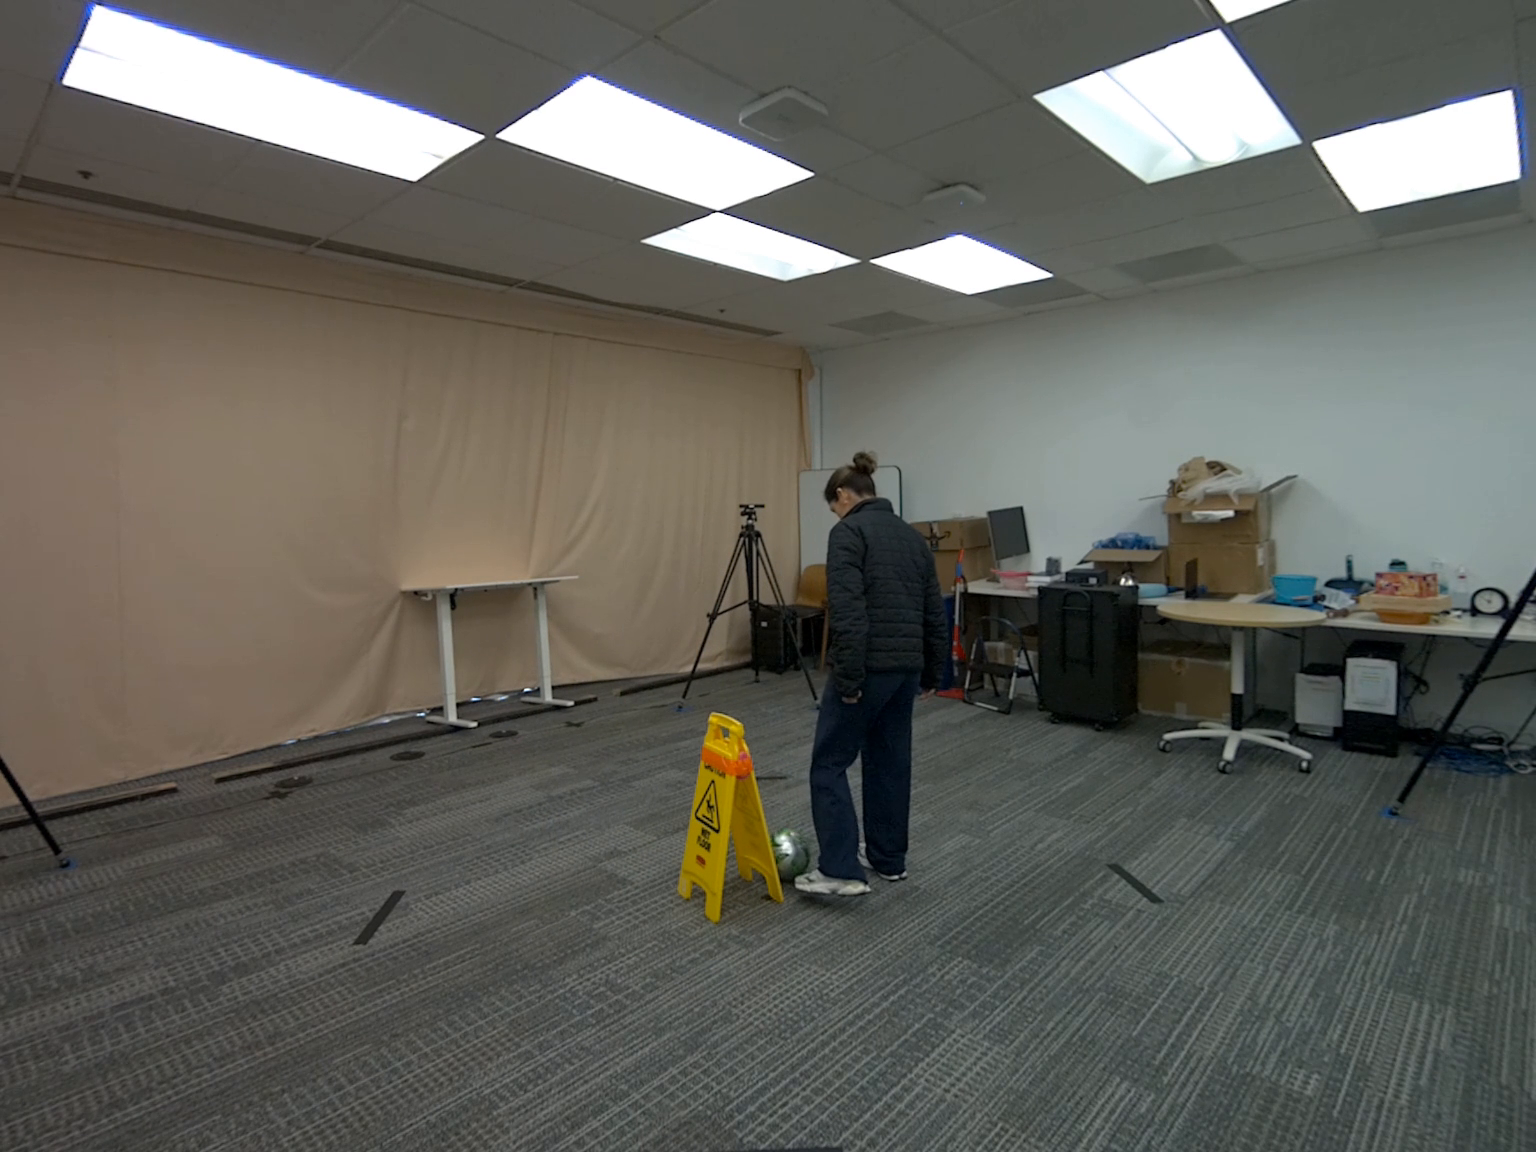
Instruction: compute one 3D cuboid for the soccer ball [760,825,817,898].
[{"bbox_3d":[0.072,1.045,3.120,0.187,0.187,0.188,-1,4,-2],"label":"soccer ball"}]
